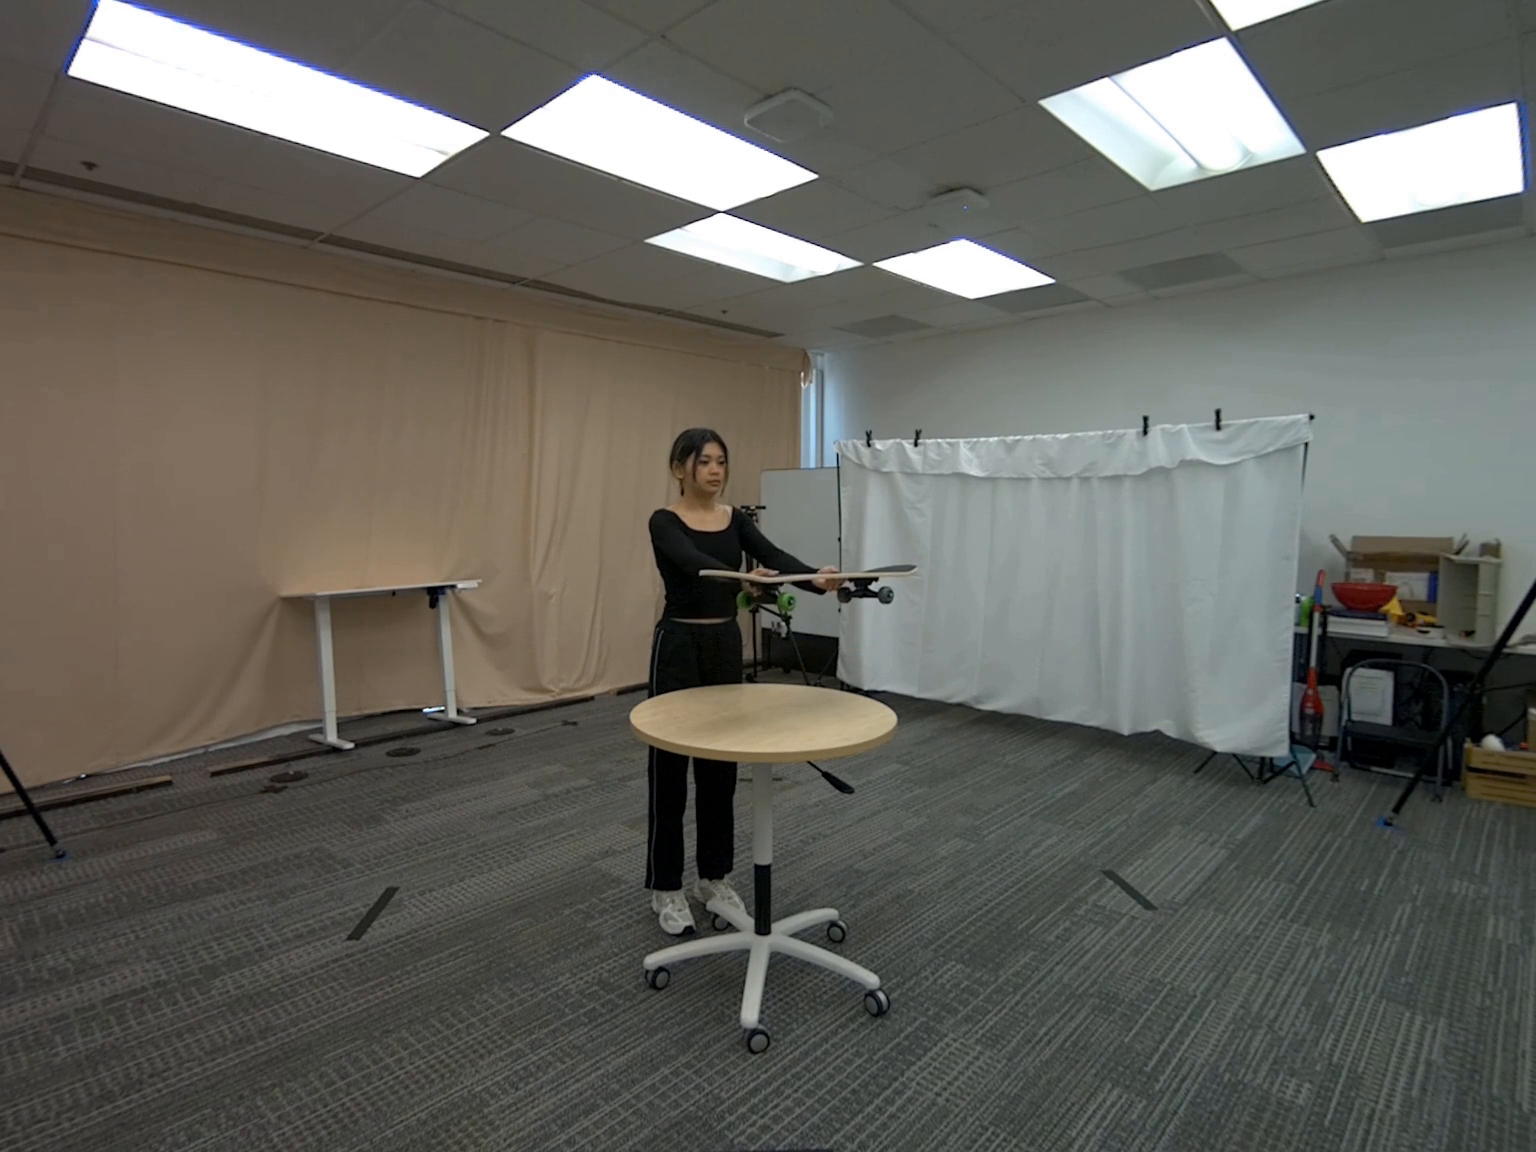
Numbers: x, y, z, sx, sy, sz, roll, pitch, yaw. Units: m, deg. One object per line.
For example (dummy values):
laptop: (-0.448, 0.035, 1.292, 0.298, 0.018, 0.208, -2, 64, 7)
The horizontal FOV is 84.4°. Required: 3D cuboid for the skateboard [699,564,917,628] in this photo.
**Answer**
skateboard: (0.108, 0.031, 2.316, 0.761, 0.110, 0.200, -3, 2, -43)
